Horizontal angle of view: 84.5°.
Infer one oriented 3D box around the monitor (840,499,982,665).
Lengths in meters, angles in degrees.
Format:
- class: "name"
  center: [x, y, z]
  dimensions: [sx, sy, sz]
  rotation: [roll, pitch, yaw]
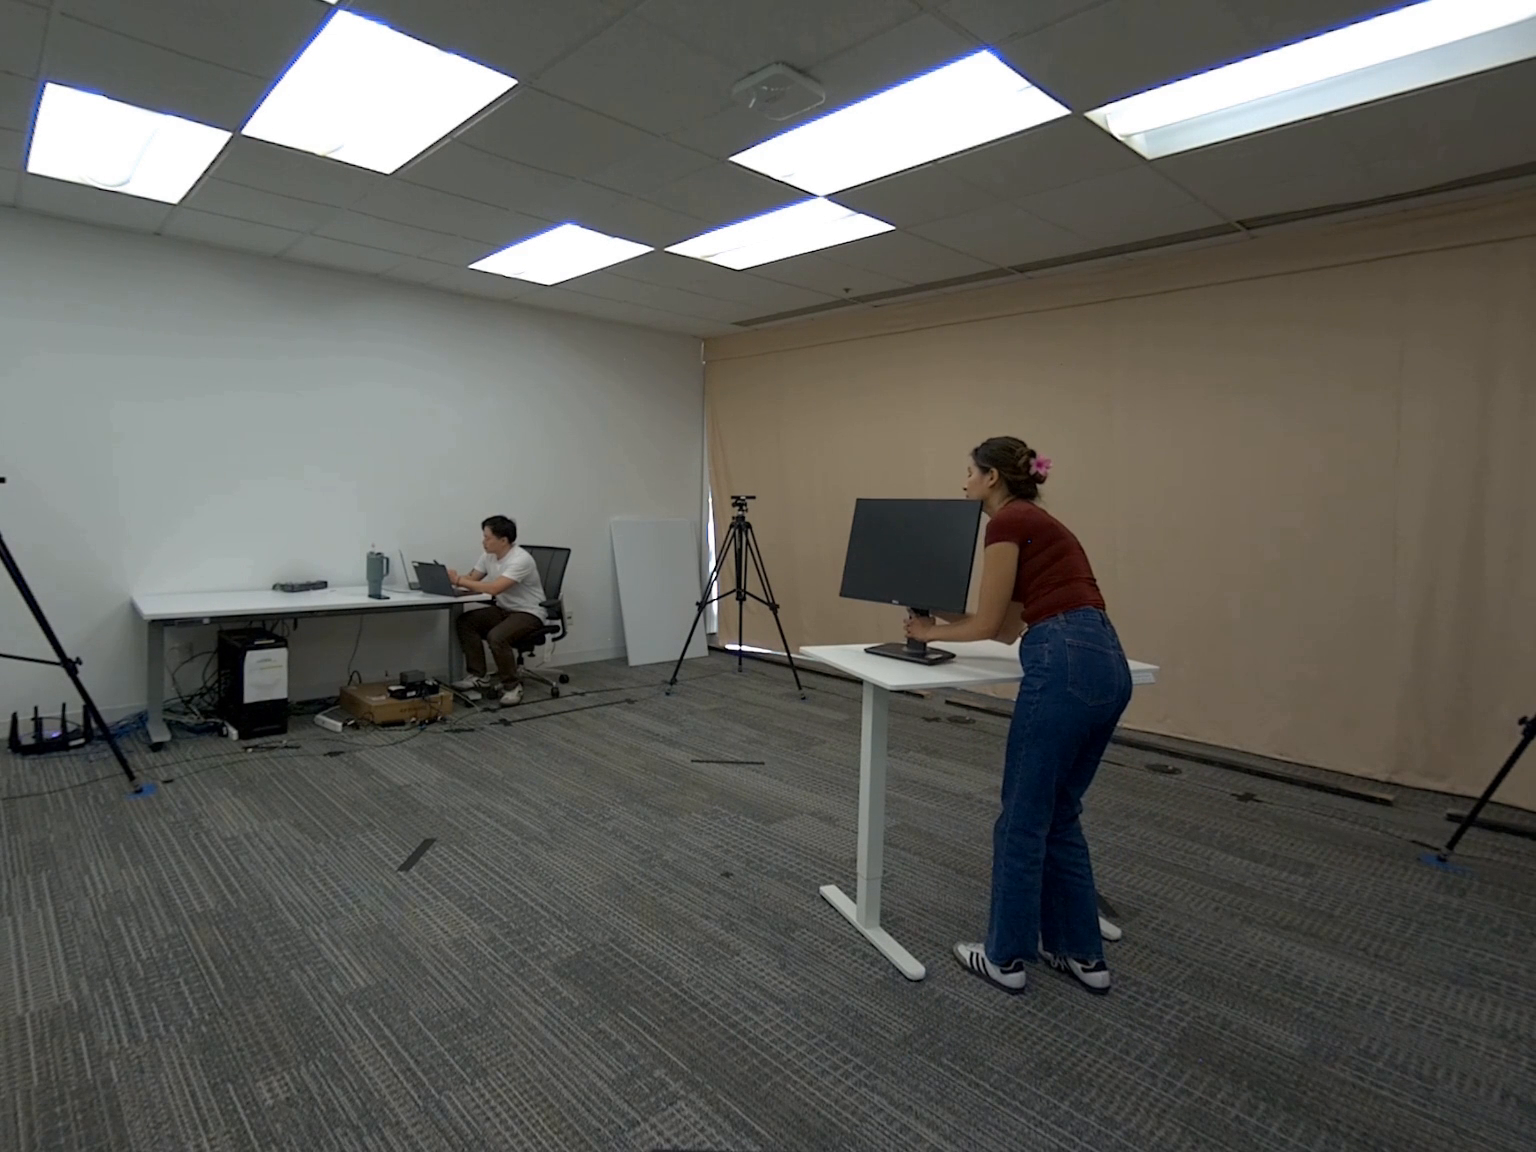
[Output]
- class: "monitor"
  center: [0.468, 0.011, 2.754]
  dimensions: [0.183, 0.521, 0.552]
  rotation: [-3, 5, -38]
